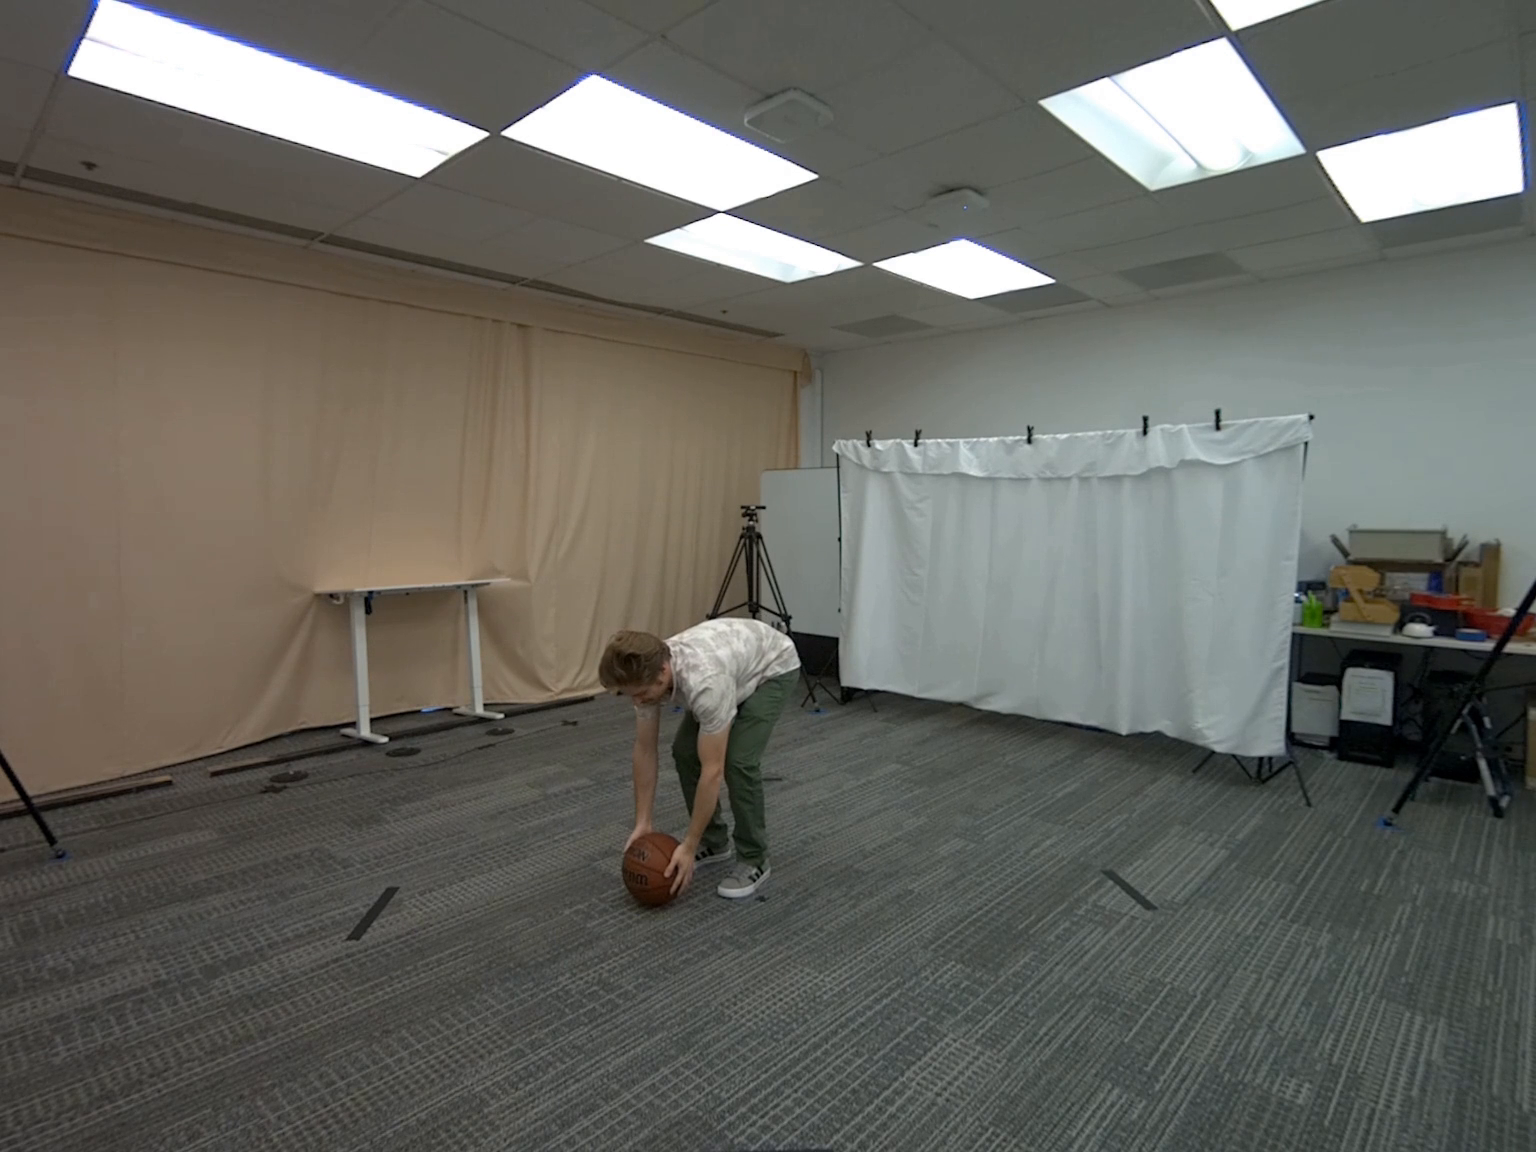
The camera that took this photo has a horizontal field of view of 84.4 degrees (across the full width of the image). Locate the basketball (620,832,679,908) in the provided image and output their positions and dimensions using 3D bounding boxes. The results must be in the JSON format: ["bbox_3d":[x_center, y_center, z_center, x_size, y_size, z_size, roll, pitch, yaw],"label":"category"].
[{"bbox_3d":[-0.388,1.016,2.964,0.236,0.235,0.237,0,4,-2],"label":"basketball"}]
